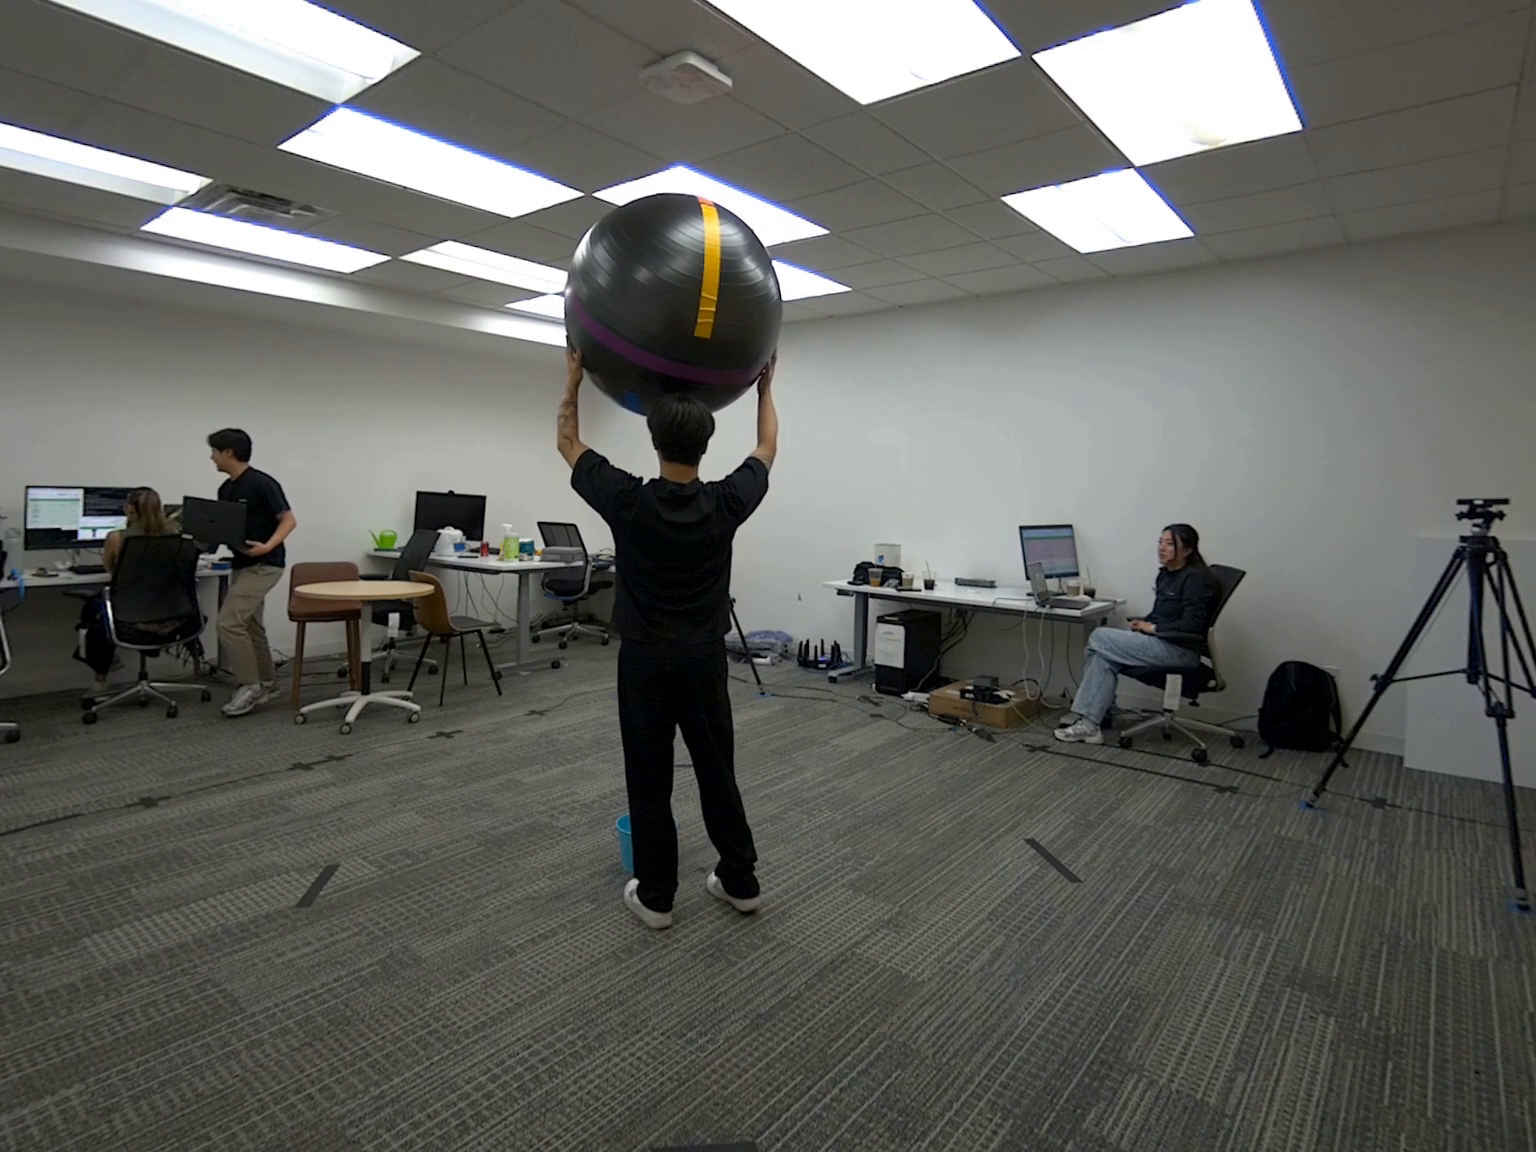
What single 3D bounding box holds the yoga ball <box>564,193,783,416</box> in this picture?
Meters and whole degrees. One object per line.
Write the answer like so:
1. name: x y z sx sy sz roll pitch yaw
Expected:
1. yoga ball: -0.333 -0.921 2.949 0.757 0.755 0.762 1 4 -2
